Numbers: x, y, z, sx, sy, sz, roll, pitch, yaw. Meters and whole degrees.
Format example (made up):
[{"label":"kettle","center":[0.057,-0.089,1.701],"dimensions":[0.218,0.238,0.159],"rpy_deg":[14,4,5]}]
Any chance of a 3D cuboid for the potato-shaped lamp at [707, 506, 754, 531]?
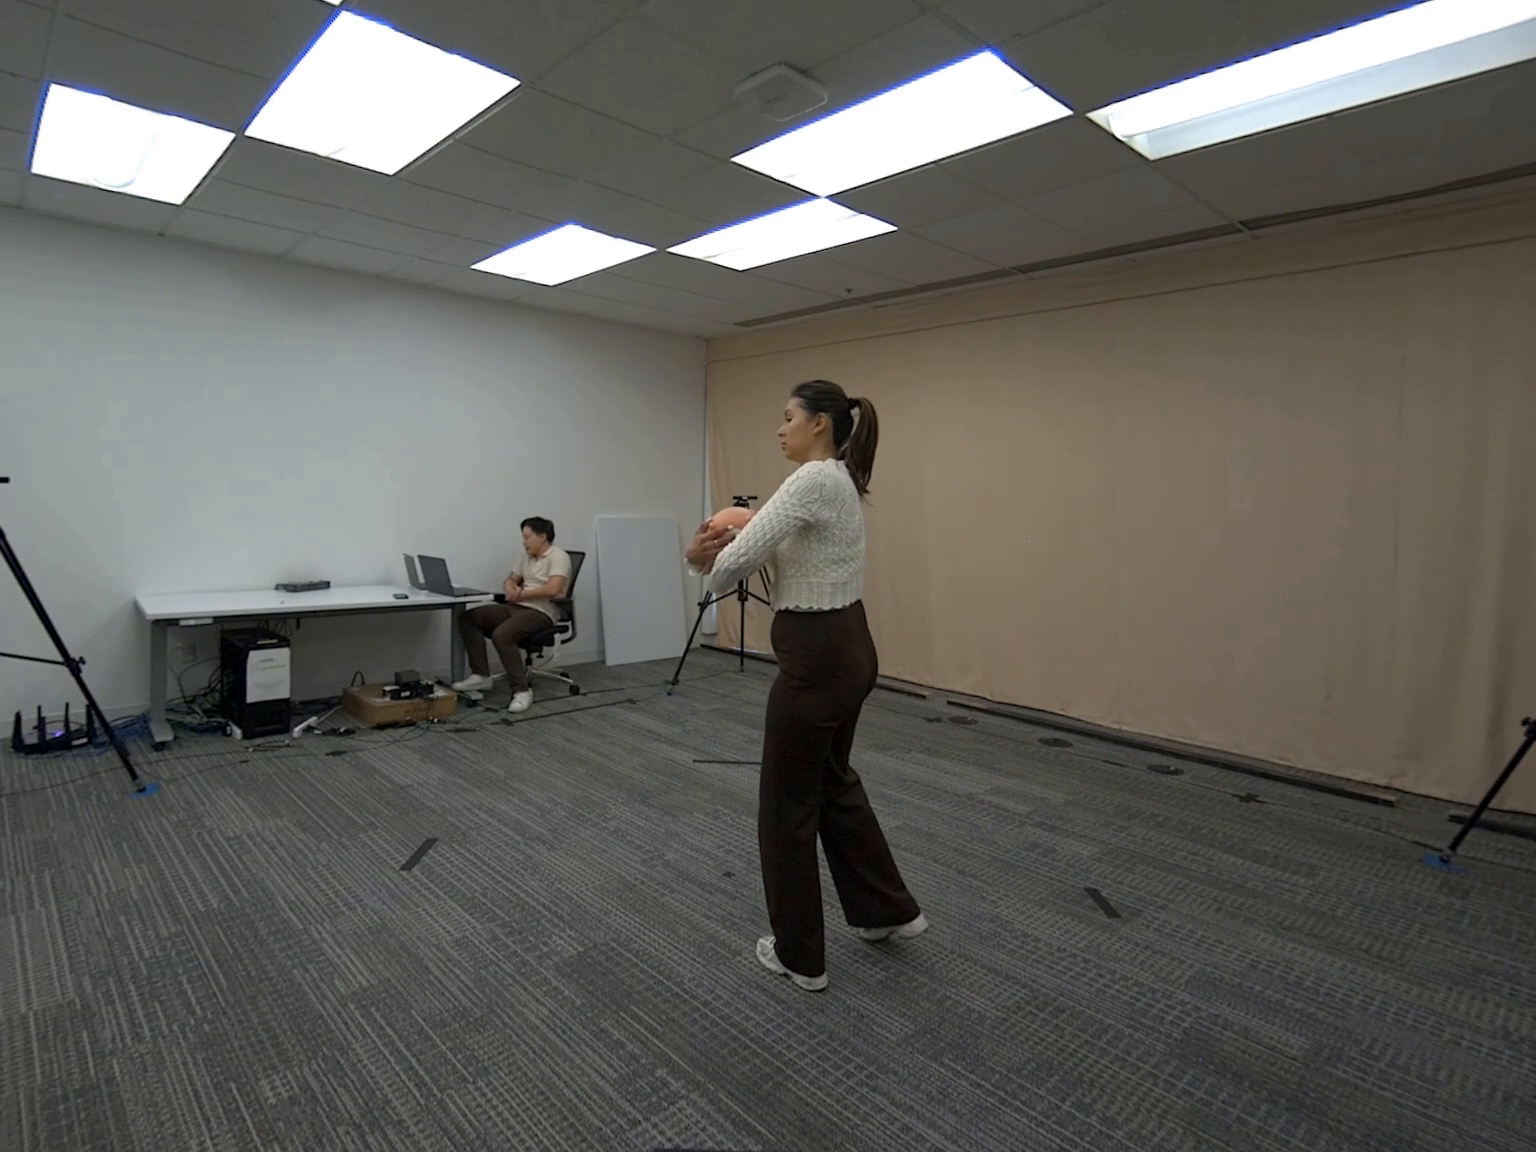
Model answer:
[{"label":"potato-shaped lamp","center":[-0.085,-0.109,2.343],"dimensions":[0.165,0.168,0.200],"rpy_deg":[-12,20,6]}]
